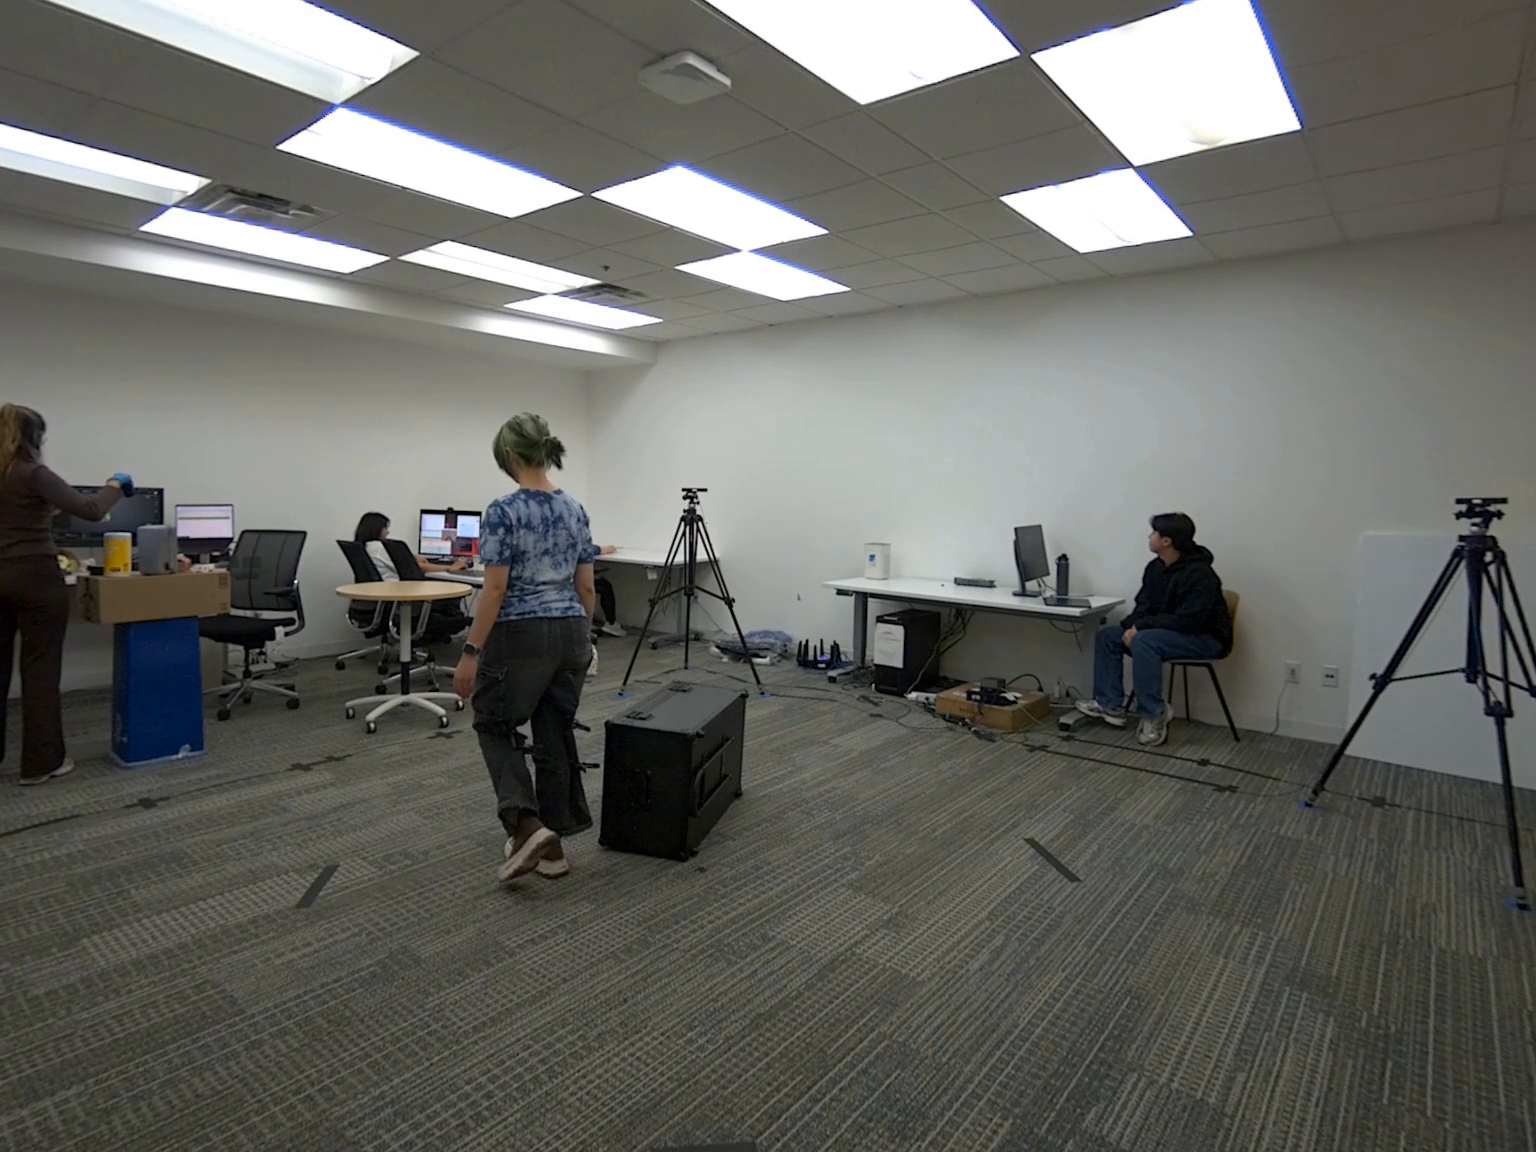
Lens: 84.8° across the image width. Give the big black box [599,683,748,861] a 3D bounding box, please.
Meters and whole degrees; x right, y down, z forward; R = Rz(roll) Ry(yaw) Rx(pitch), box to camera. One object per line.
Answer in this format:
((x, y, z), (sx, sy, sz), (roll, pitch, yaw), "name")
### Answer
((-0.360, 0.763, 3.592), (0.403, 0.519, 0.851), (5, 6, 14), "big black box")
